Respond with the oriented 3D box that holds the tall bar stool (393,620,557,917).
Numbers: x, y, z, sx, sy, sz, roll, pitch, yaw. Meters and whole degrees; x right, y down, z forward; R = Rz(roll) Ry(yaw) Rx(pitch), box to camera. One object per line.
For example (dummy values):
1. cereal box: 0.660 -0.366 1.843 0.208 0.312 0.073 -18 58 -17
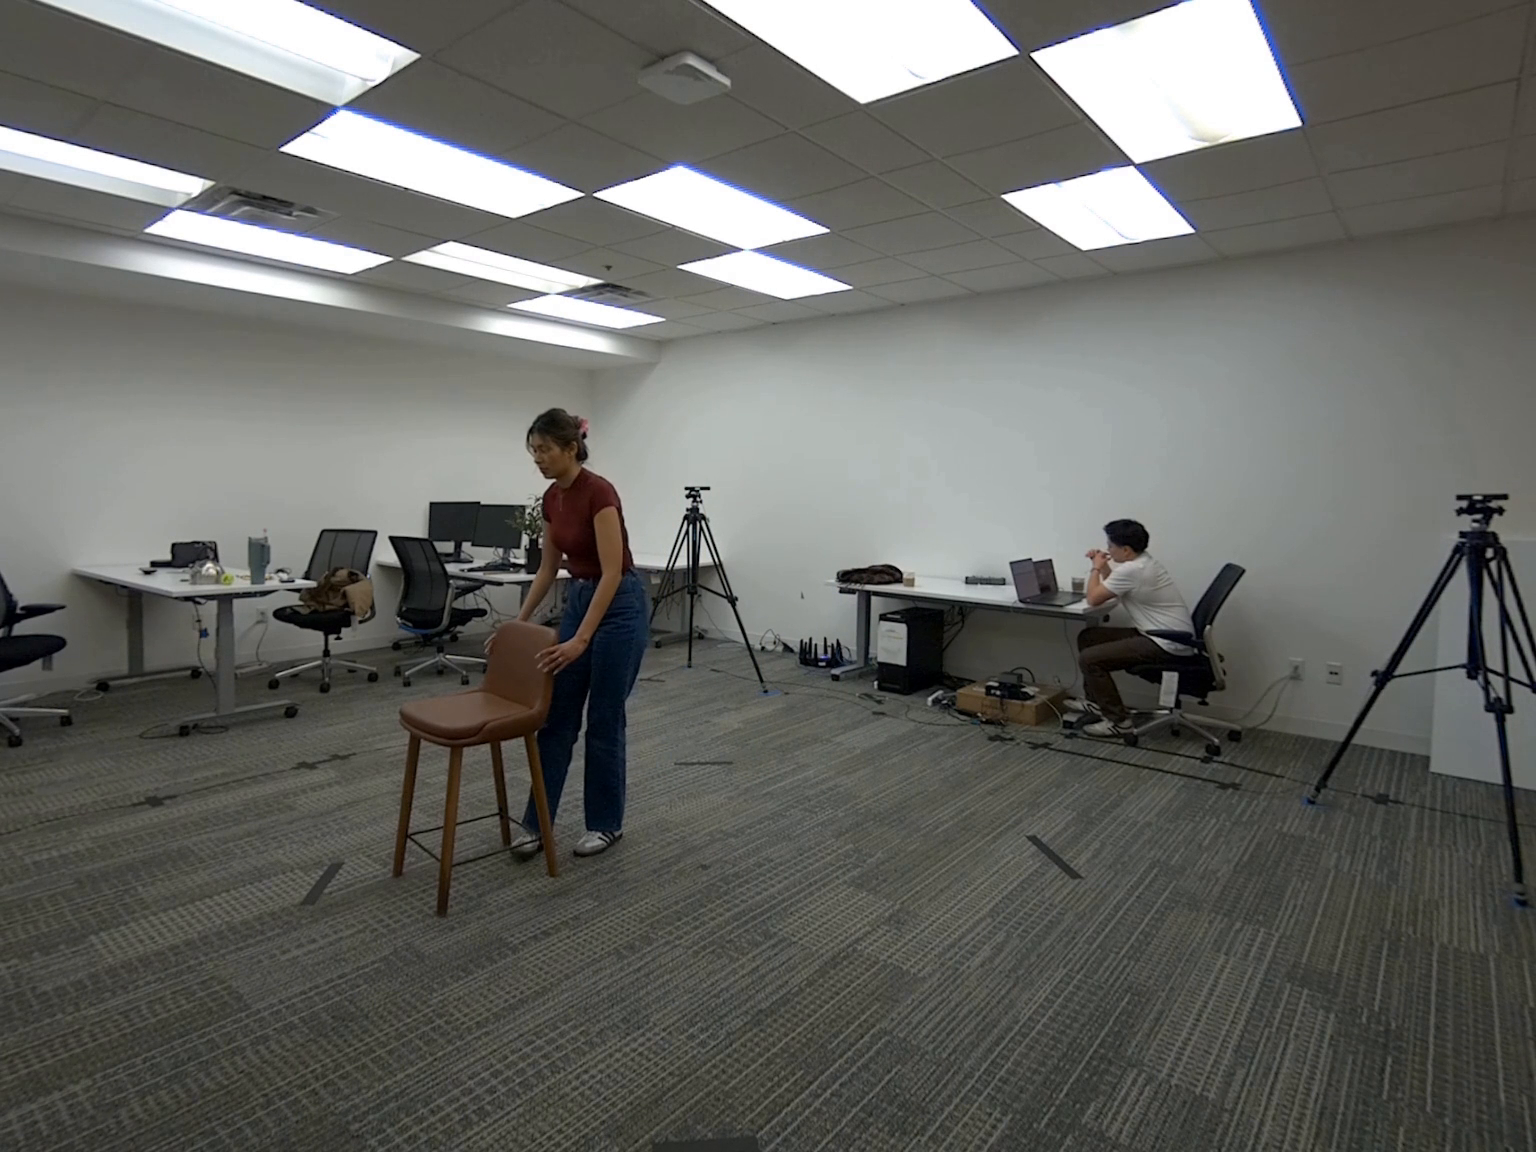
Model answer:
1. tall bar stool: -1.034 0.631 3.003 0.453 0.889 0.472 1 2 -43
